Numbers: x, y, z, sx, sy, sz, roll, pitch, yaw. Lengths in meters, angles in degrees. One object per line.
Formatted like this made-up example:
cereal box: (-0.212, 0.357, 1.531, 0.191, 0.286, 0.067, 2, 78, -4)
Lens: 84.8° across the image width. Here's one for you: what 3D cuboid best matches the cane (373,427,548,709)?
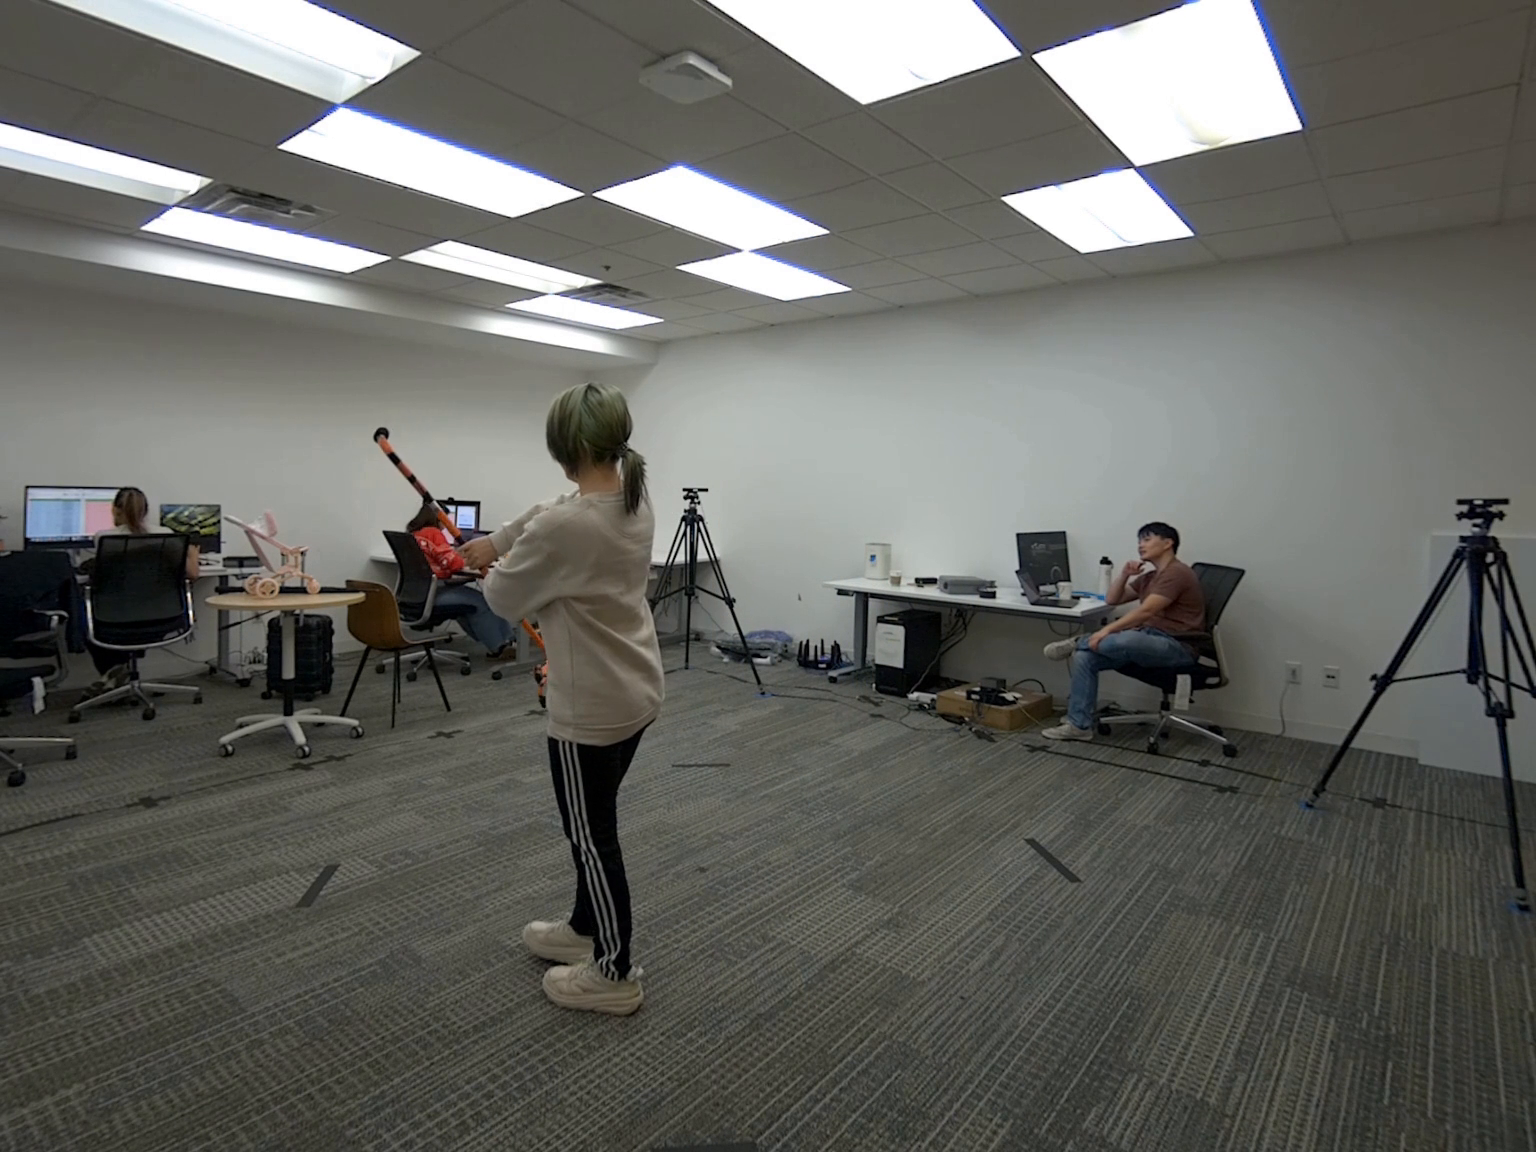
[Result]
cane: (-0.865, -0.029, 2.450, 0.151, 0.884, 0.212, -35, 21, -10)
